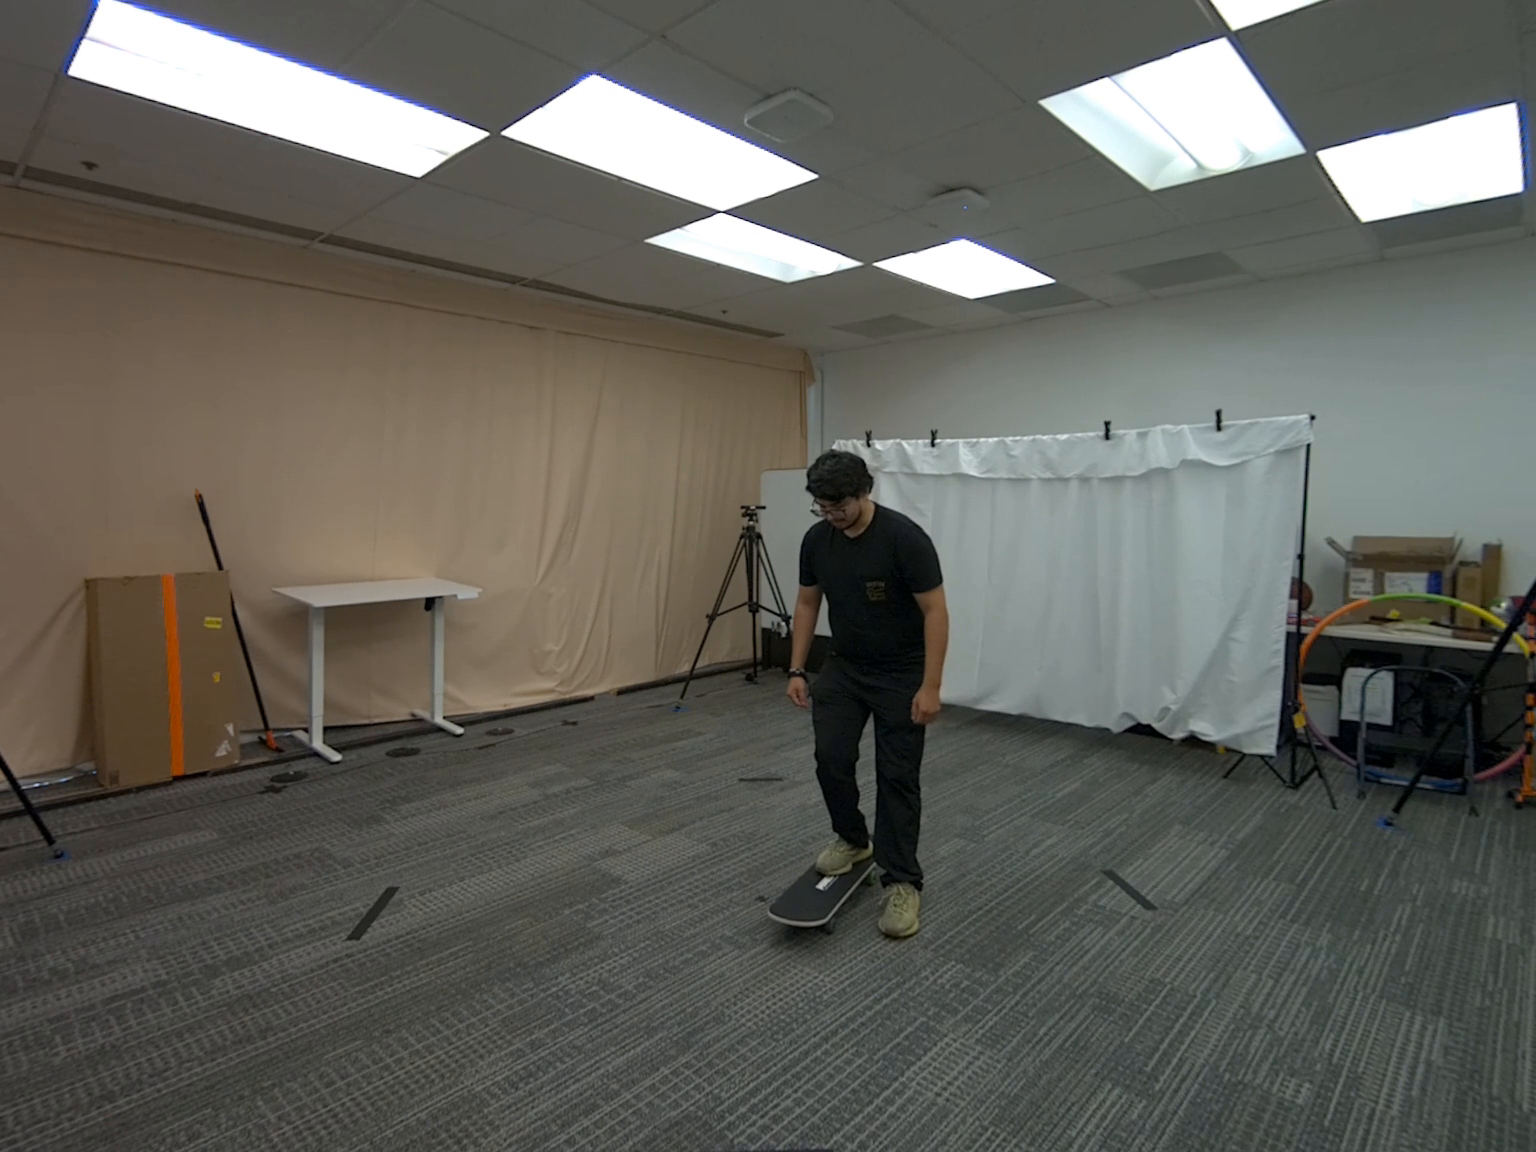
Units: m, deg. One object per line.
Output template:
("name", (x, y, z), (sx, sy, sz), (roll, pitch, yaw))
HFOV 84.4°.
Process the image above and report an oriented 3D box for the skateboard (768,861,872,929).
("skateboard", (0.231, 1.091, 2.958), (0.199, 0.110, 0.766), (2, 5, 26))
